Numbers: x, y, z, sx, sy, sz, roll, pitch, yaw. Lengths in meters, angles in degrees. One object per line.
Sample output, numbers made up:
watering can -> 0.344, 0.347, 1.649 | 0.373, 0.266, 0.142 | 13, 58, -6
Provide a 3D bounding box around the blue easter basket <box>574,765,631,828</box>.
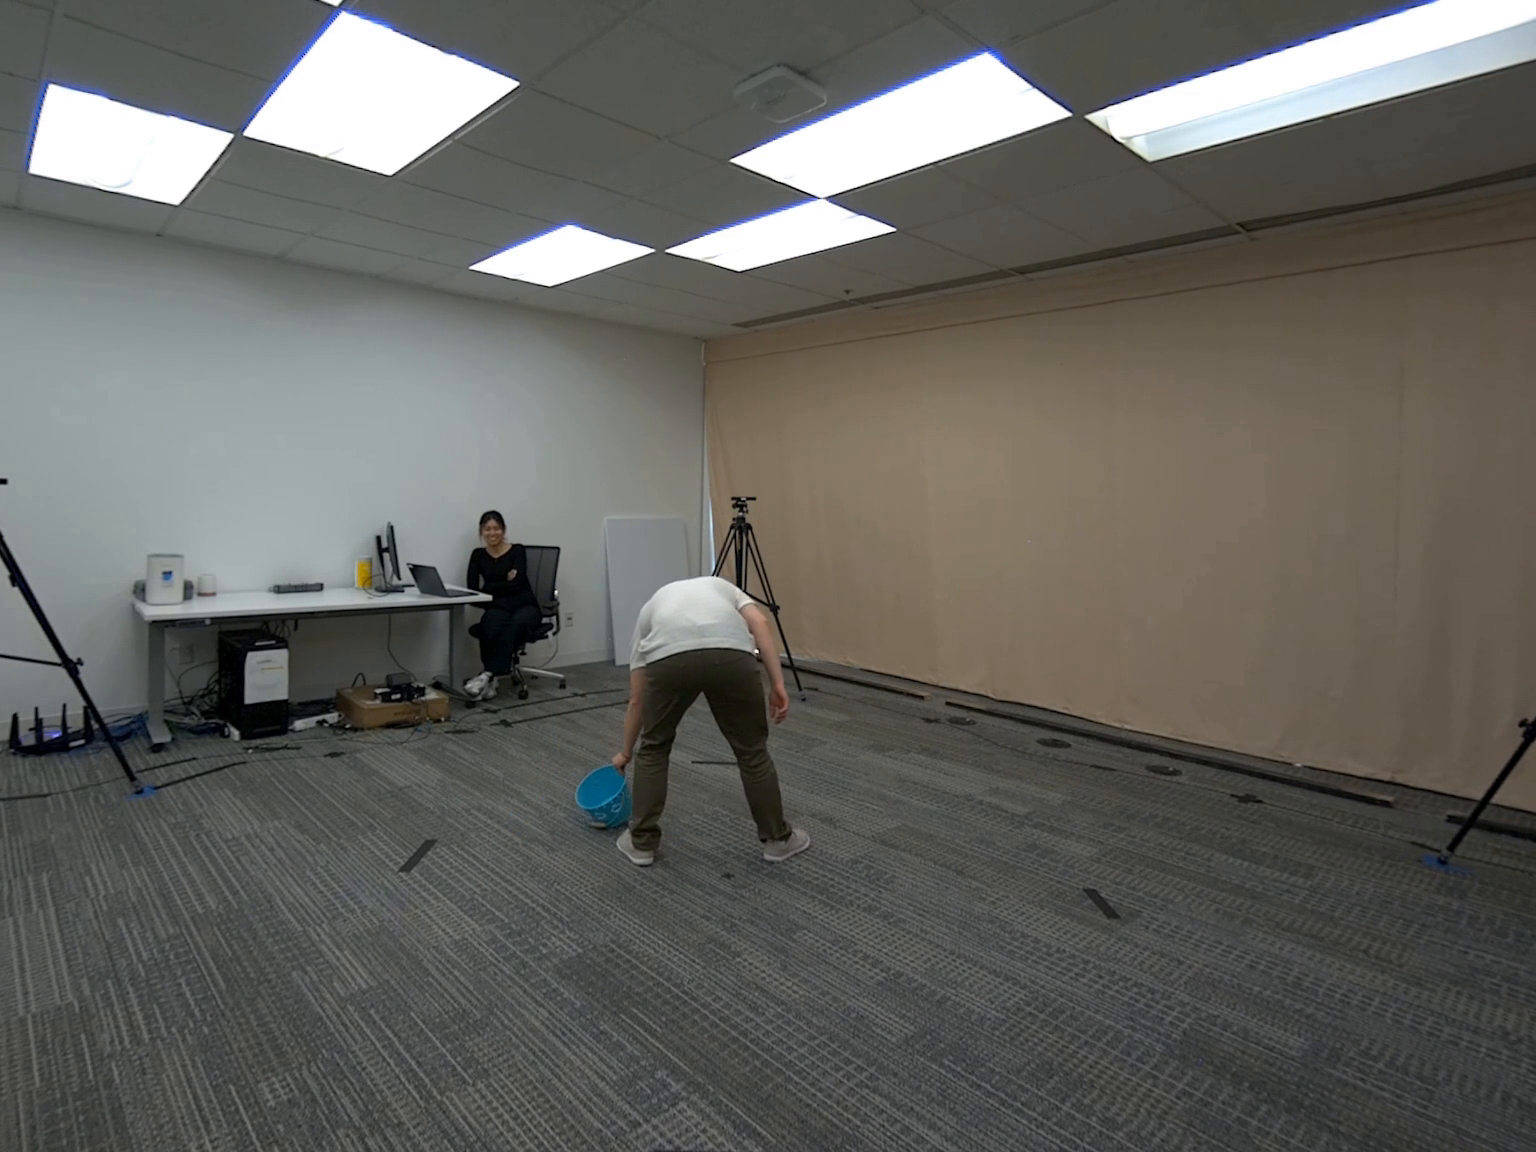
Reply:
blue easter basket -> -0.694, 0.948, 3.554 | 0.245, 0.152, 0.248 | -17, 28, 8
